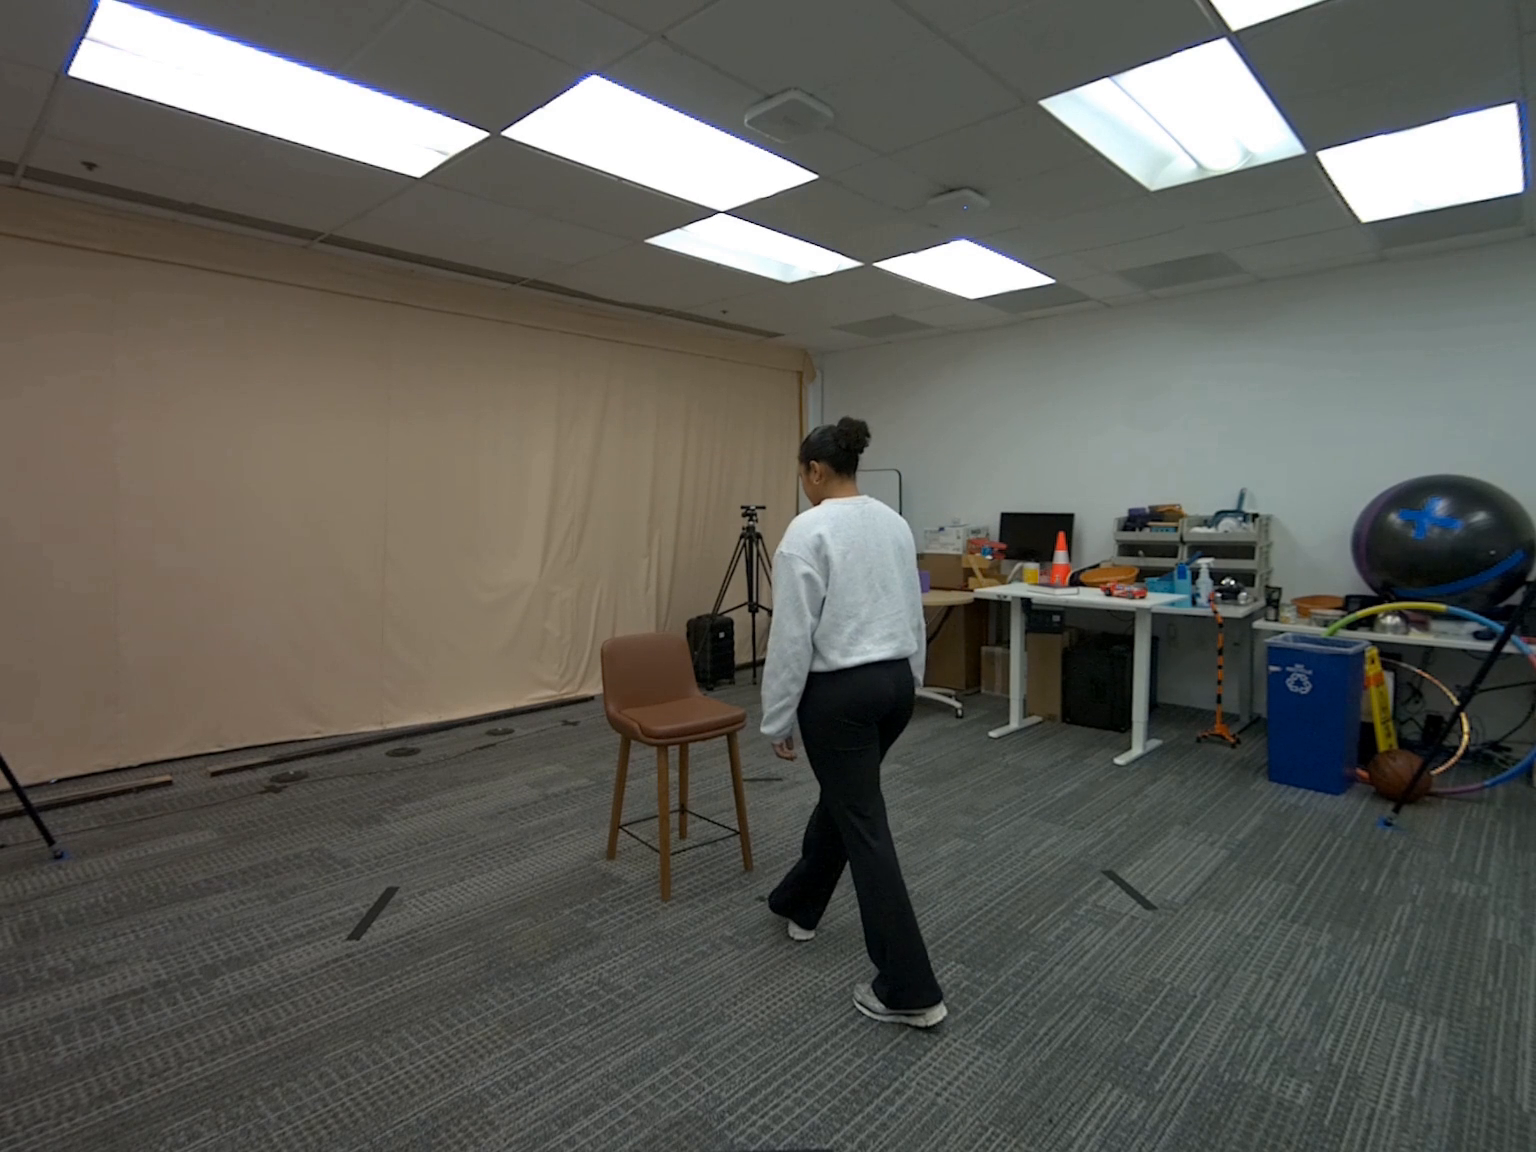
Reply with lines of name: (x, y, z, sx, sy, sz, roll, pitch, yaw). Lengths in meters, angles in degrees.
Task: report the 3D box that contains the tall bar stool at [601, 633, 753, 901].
tall bar stool: (-0.363, 0.688, 3.251, 0.443, 0.889, 0.482, -3, 2, -38)
